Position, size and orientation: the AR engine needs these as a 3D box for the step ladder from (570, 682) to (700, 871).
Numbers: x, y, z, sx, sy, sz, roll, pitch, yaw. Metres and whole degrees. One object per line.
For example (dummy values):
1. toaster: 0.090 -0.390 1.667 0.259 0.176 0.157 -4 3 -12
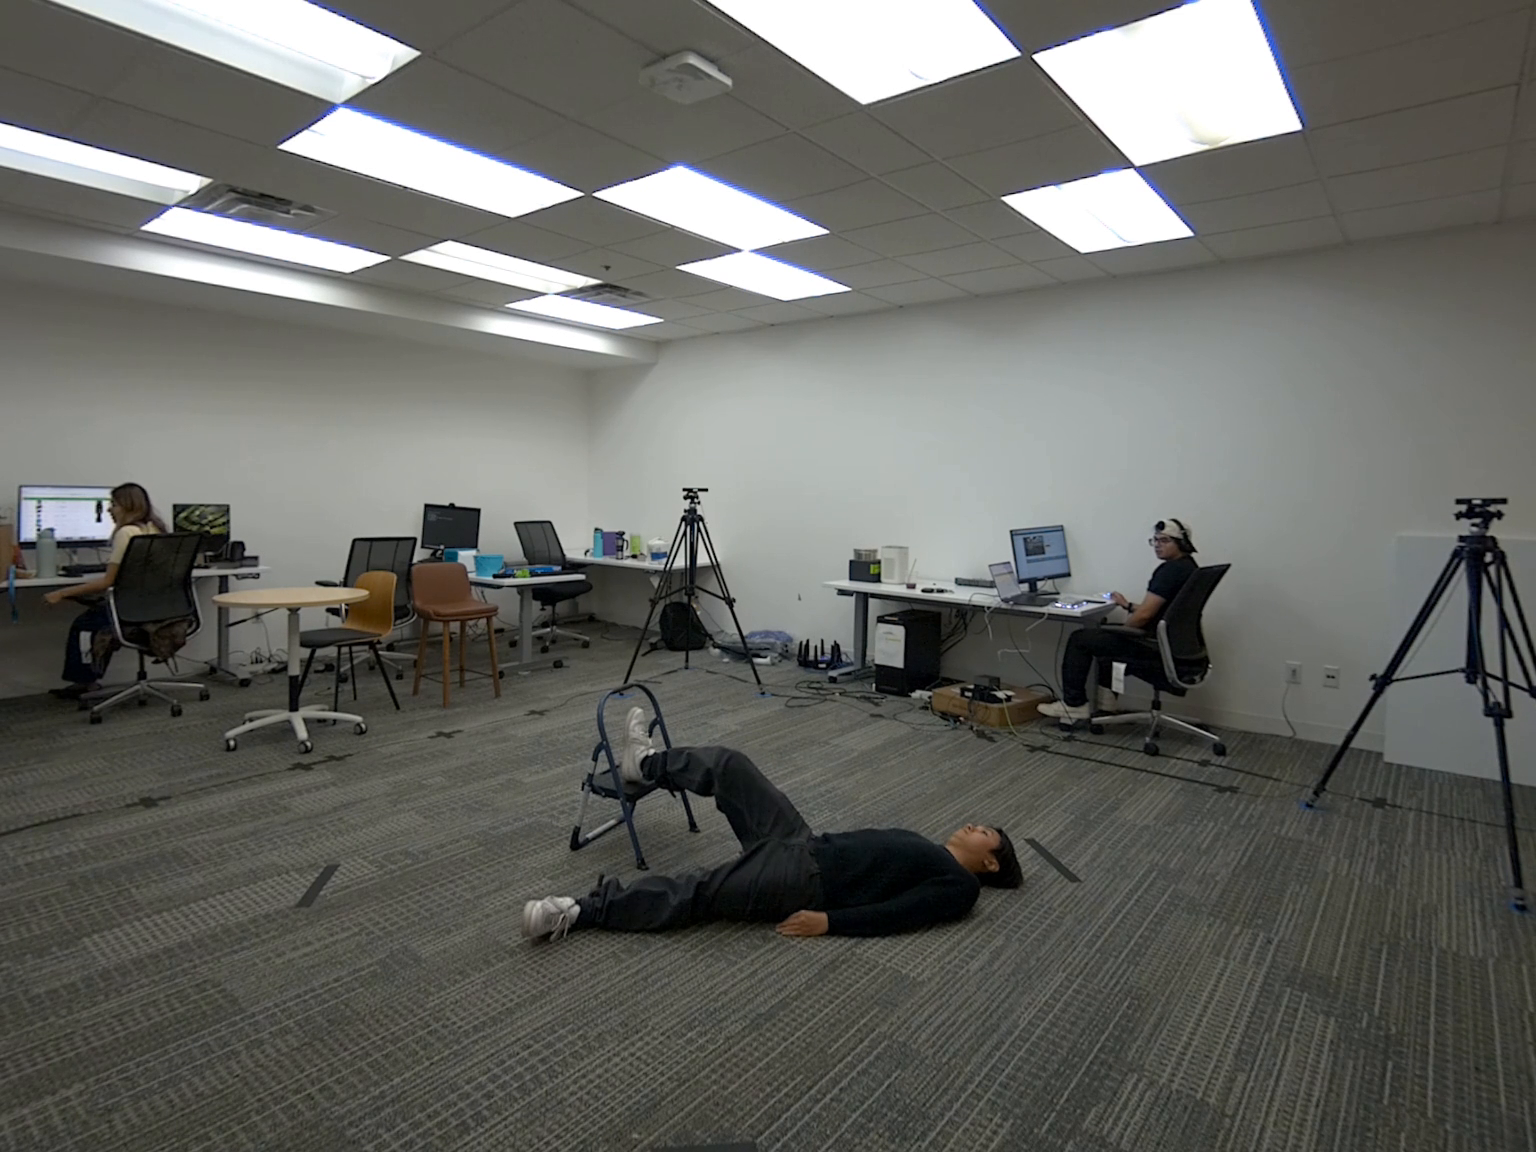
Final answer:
1. step ladder: -0.525 0.740 3.344 0.358 0.604 0.421 3 4 25
